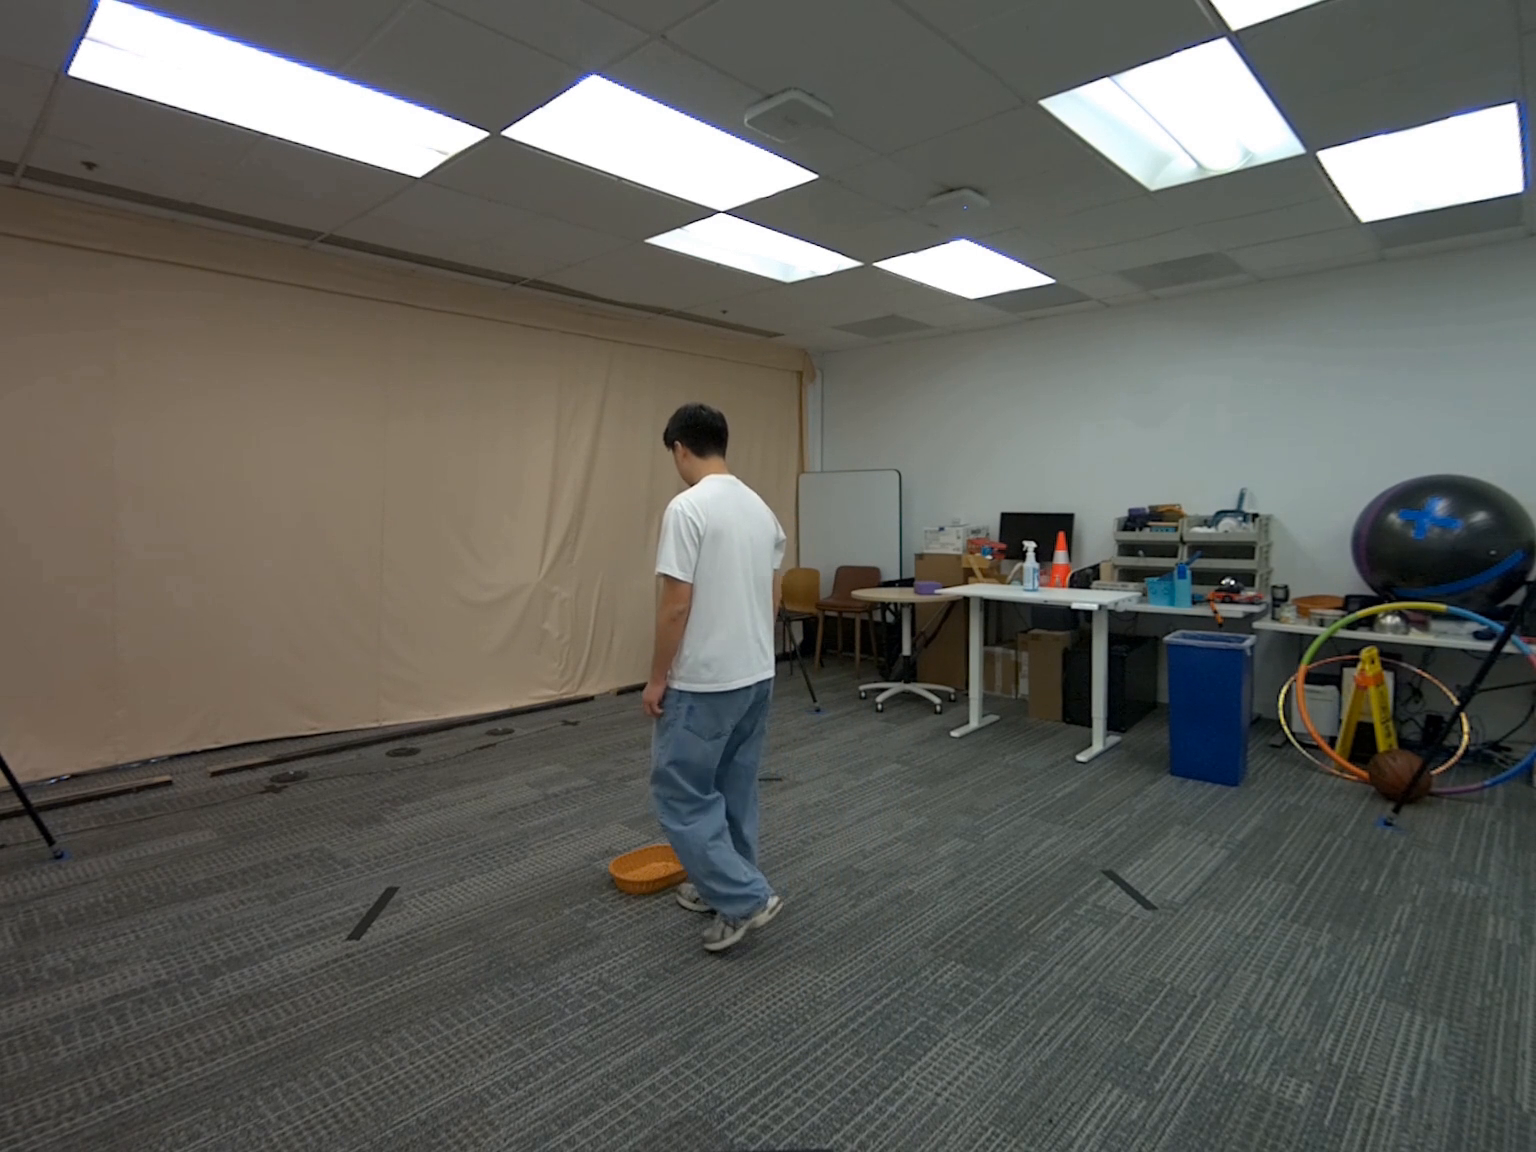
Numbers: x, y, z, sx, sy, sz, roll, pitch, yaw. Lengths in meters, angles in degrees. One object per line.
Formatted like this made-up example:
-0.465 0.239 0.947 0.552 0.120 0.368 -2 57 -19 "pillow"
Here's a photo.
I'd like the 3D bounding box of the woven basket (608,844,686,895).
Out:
-0.423 1.092 3.140 0.340 0.073 0.261 -5 7 -41 "woven basket"
